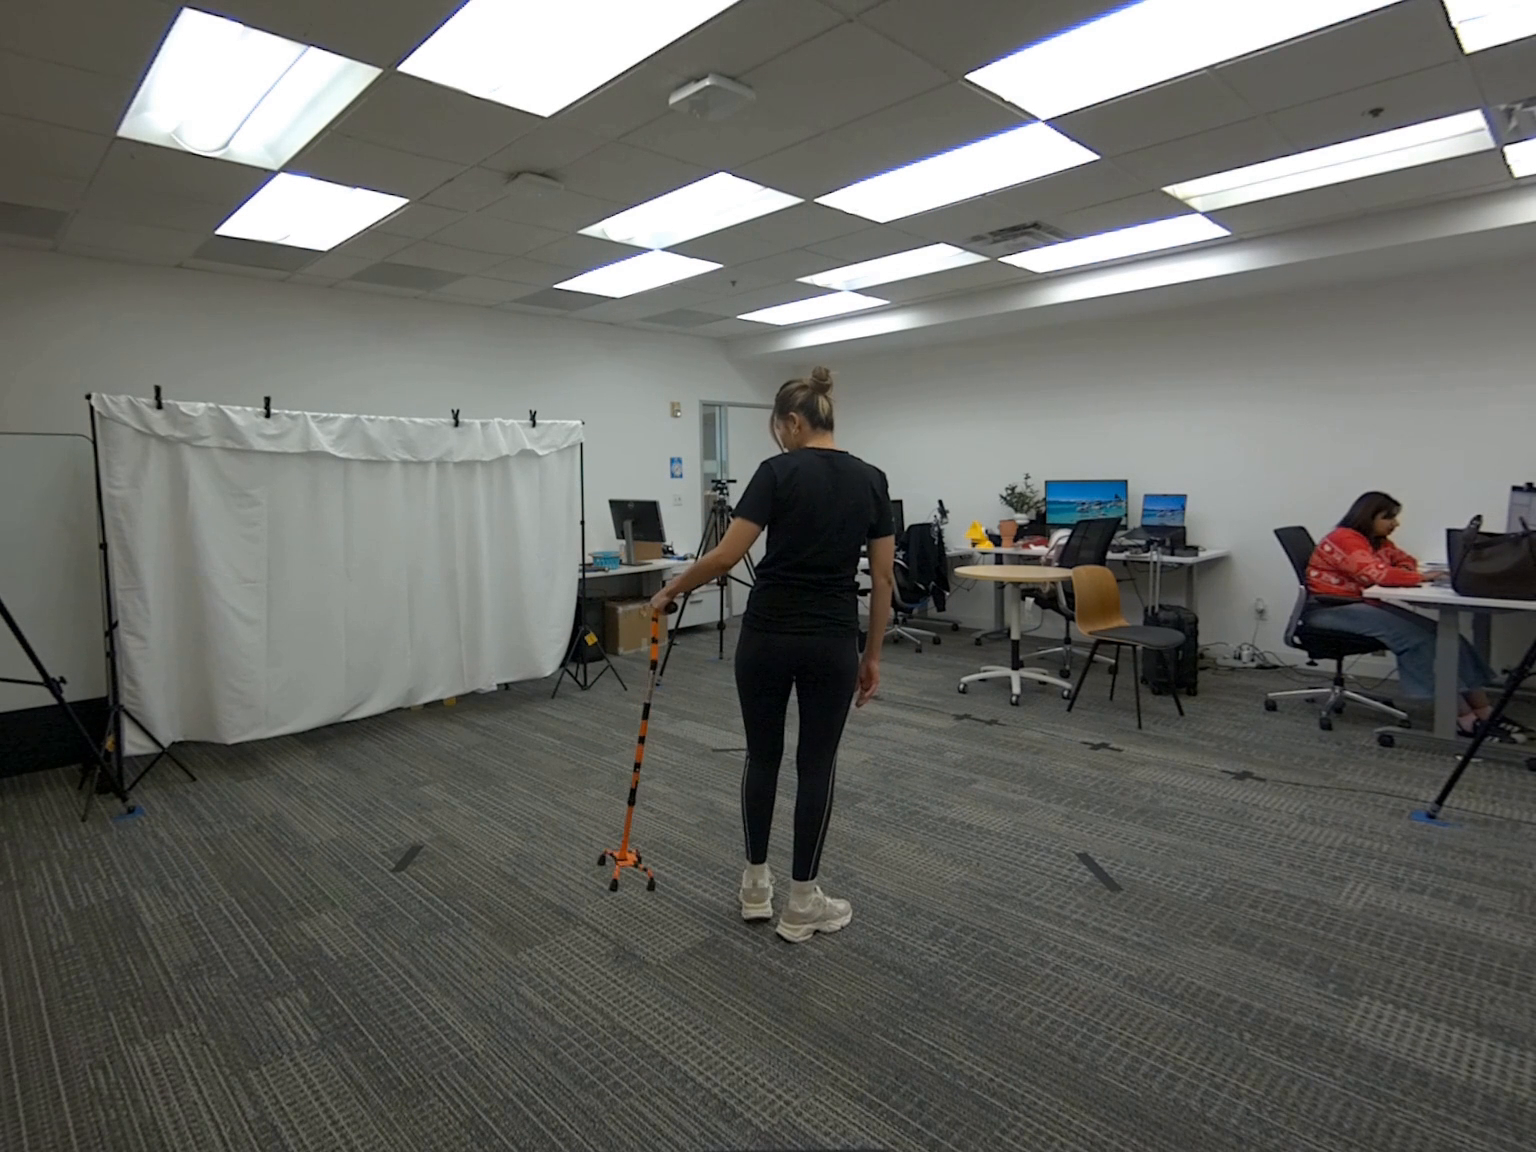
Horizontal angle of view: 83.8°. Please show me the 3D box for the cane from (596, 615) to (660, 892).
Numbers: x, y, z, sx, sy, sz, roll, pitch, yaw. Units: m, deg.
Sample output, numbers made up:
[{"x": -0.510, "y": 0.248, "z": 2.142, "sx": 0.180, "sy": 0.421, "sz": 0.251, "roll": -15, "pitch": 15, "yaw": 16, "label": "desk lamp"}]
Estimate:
[{"x": -0.382, "y": 0.525, "z": 2.734, "sx": 0.149, "sy": 0.907, "sz": 0.210, "roll": 8, "pitch": 1, "yaw": -19, "label": "cane"}]
